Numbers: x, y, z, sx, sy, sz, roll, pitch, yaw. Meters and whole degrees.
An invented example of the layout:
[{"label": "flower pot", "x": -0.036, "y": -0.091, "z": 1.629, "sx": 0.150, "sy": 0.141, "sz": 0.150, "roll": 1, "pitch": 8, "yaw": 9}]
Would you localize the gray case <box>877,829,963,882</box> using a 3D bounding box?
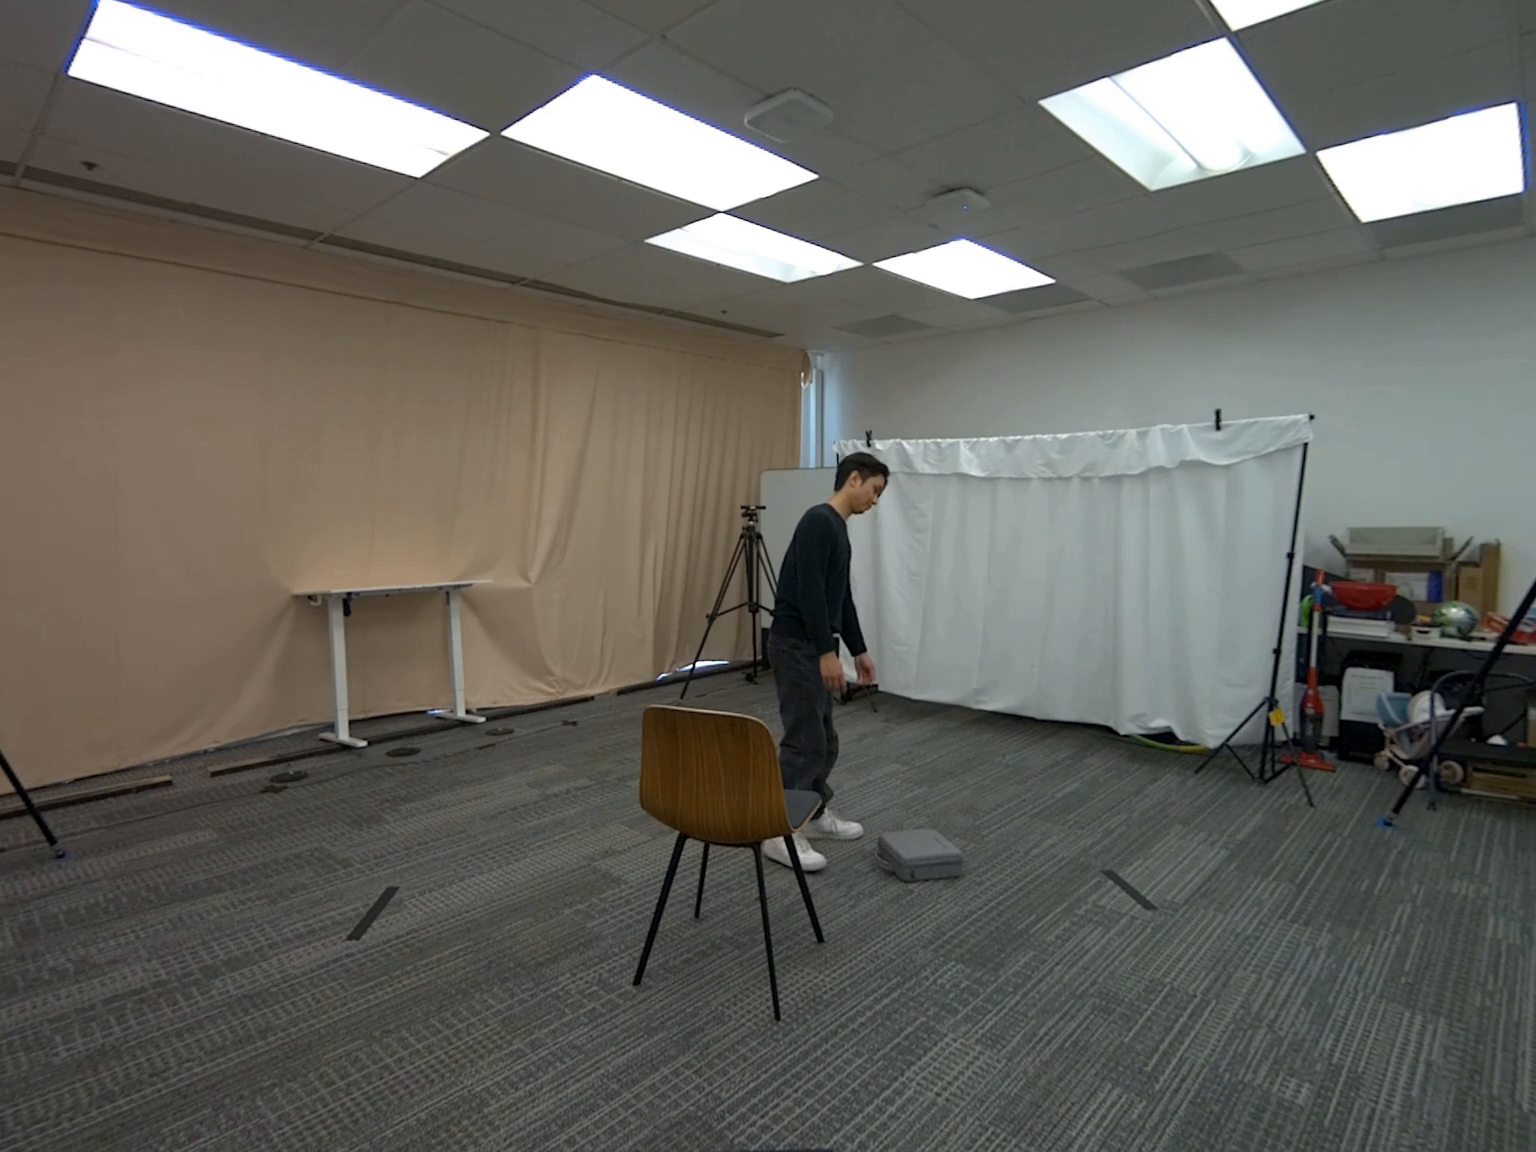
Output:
[{"label": "gray case", "x": 0.582, "y": 1.066, "z": 3.225, "sx": 0.257, "sy": 0.104, "sz": 0.261, "roll": -1, "pitch": 5, "yaw": -14}]
